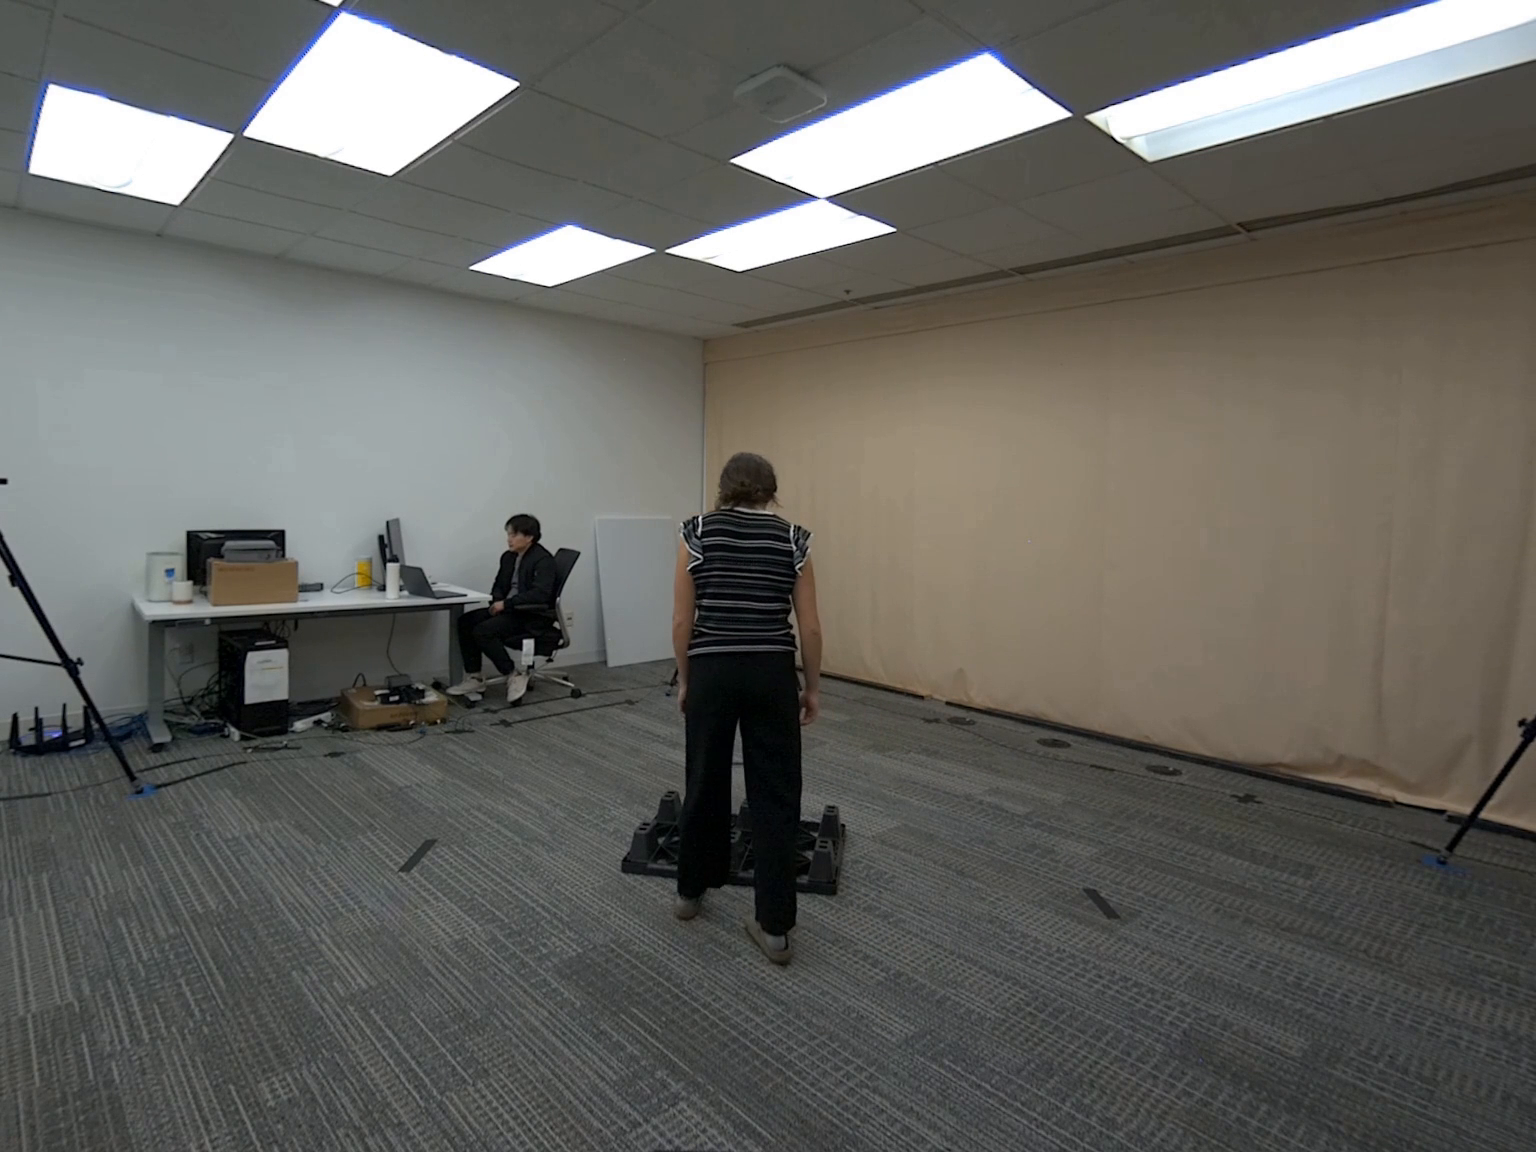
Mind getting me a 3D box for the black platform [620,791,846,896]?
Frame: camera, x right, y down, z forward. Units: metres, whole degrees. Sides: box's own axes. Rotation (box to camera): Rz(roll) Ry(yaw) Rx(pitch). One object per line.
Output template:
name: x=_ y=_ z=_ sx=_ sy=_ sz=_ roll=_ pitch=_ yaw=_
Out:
black platform: x=-0.112 y=1.019 z=3.325 sx=0.812 sy=0.143 sz=0.602 roll=2 pitch=5 yaw=9
